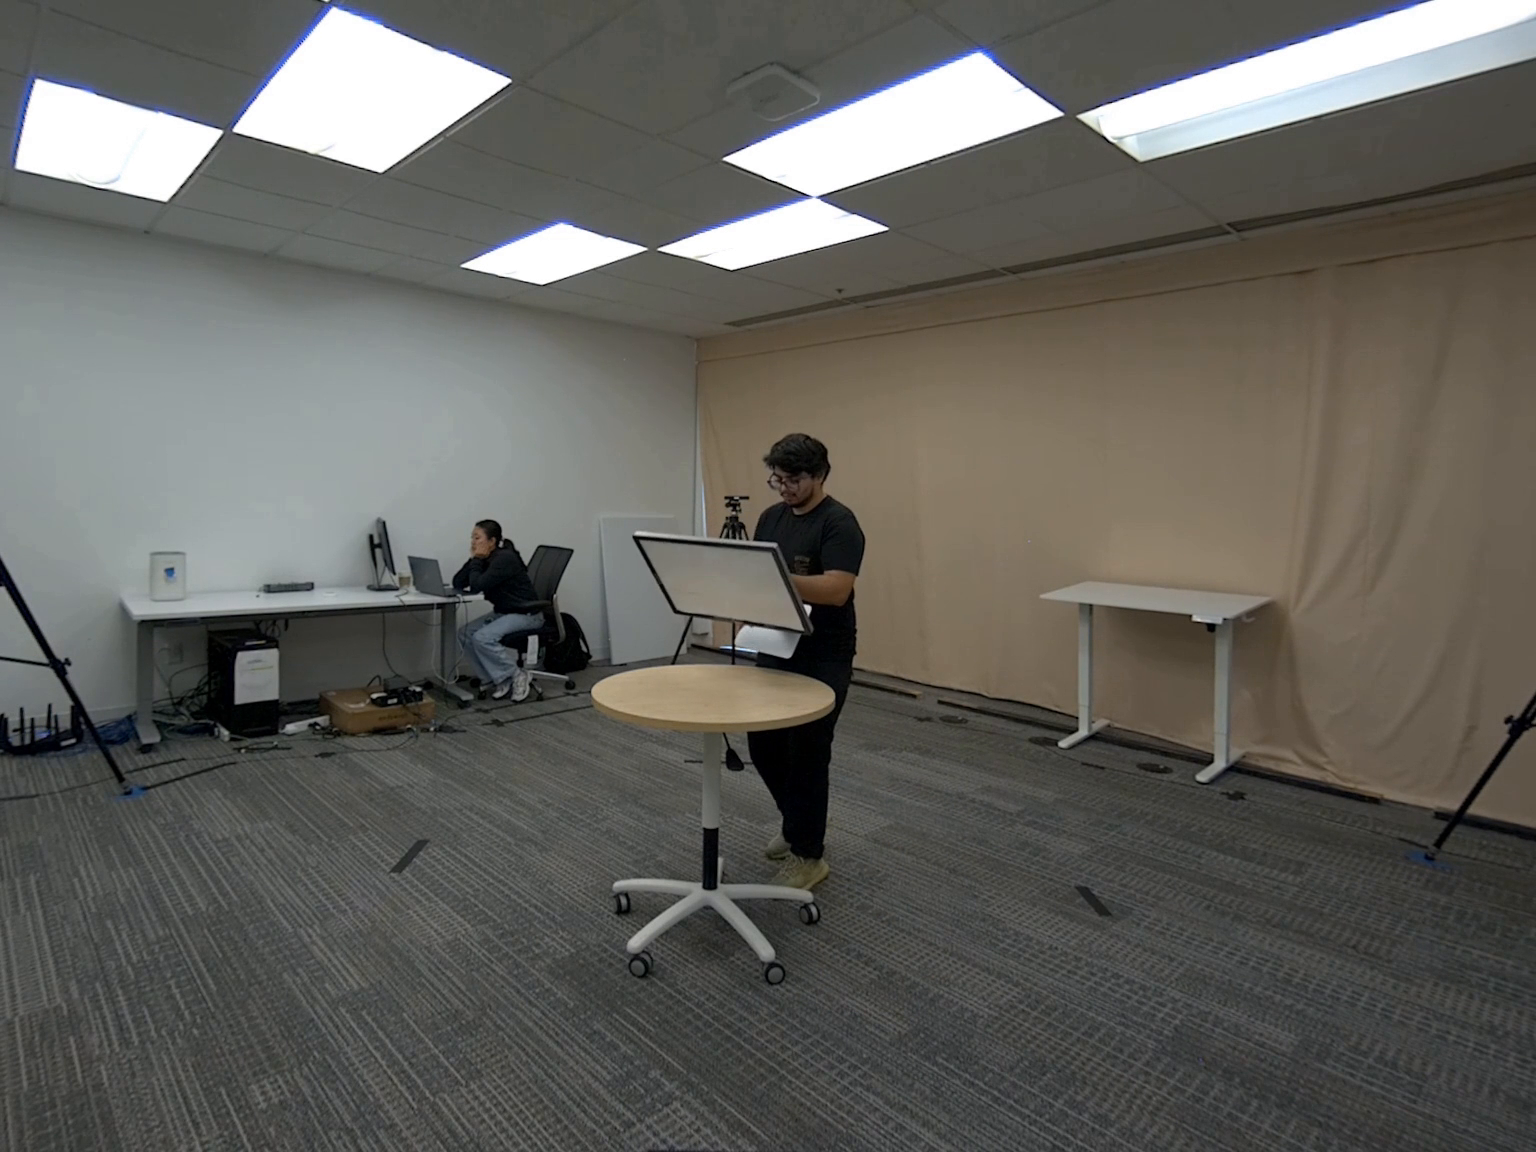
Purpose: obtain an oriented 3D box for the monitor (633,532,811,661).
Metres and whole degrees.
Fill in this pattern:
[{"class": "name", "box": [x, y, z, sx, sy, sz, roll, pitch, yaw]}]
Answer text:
[{"class": "monitor", "box": [-0.105, 0.020, 2.775, 0.579, 0.211, 0.537, 6, -38, 36]}]
